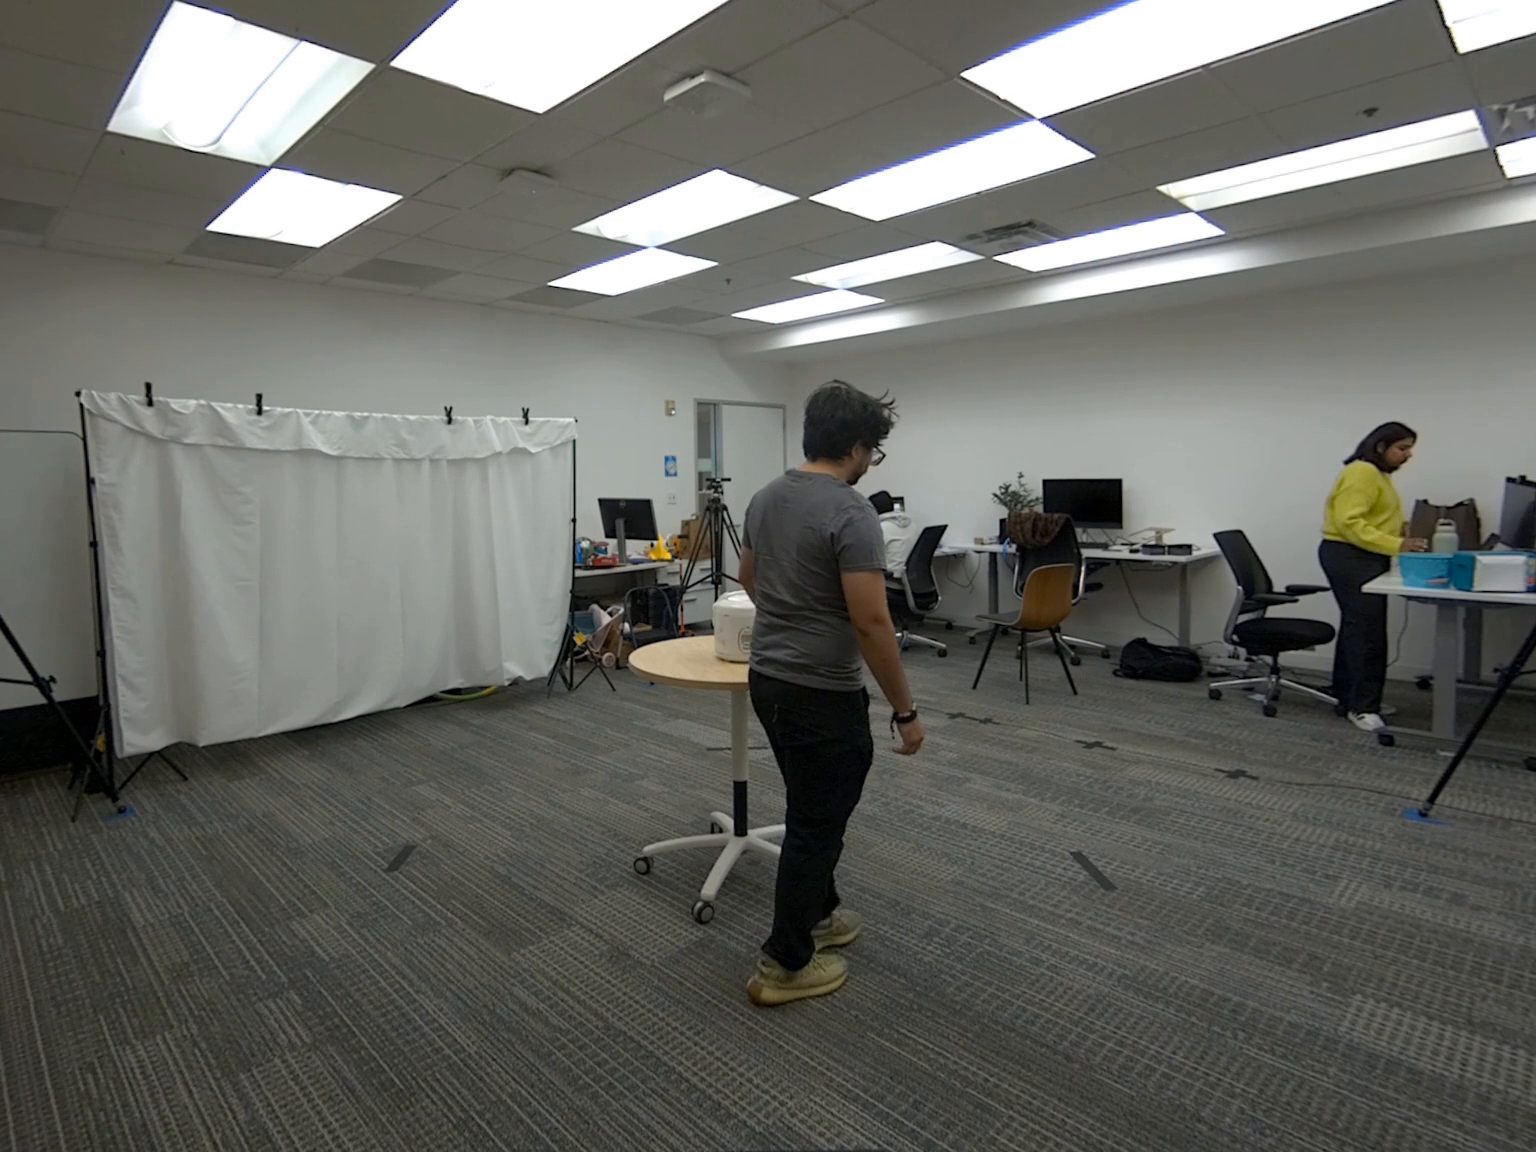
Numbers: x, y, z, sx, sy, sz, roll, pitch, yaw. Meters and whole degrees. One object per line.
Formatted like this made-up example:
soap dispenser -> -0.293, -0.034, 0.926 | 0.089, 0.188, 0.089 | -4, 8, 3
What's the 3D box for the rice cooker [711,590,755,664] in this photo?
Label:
rice cooker -> -0.078, 0.166, 2.931 | 0.220, 0.232, 0.219 | -2, 6, -5
